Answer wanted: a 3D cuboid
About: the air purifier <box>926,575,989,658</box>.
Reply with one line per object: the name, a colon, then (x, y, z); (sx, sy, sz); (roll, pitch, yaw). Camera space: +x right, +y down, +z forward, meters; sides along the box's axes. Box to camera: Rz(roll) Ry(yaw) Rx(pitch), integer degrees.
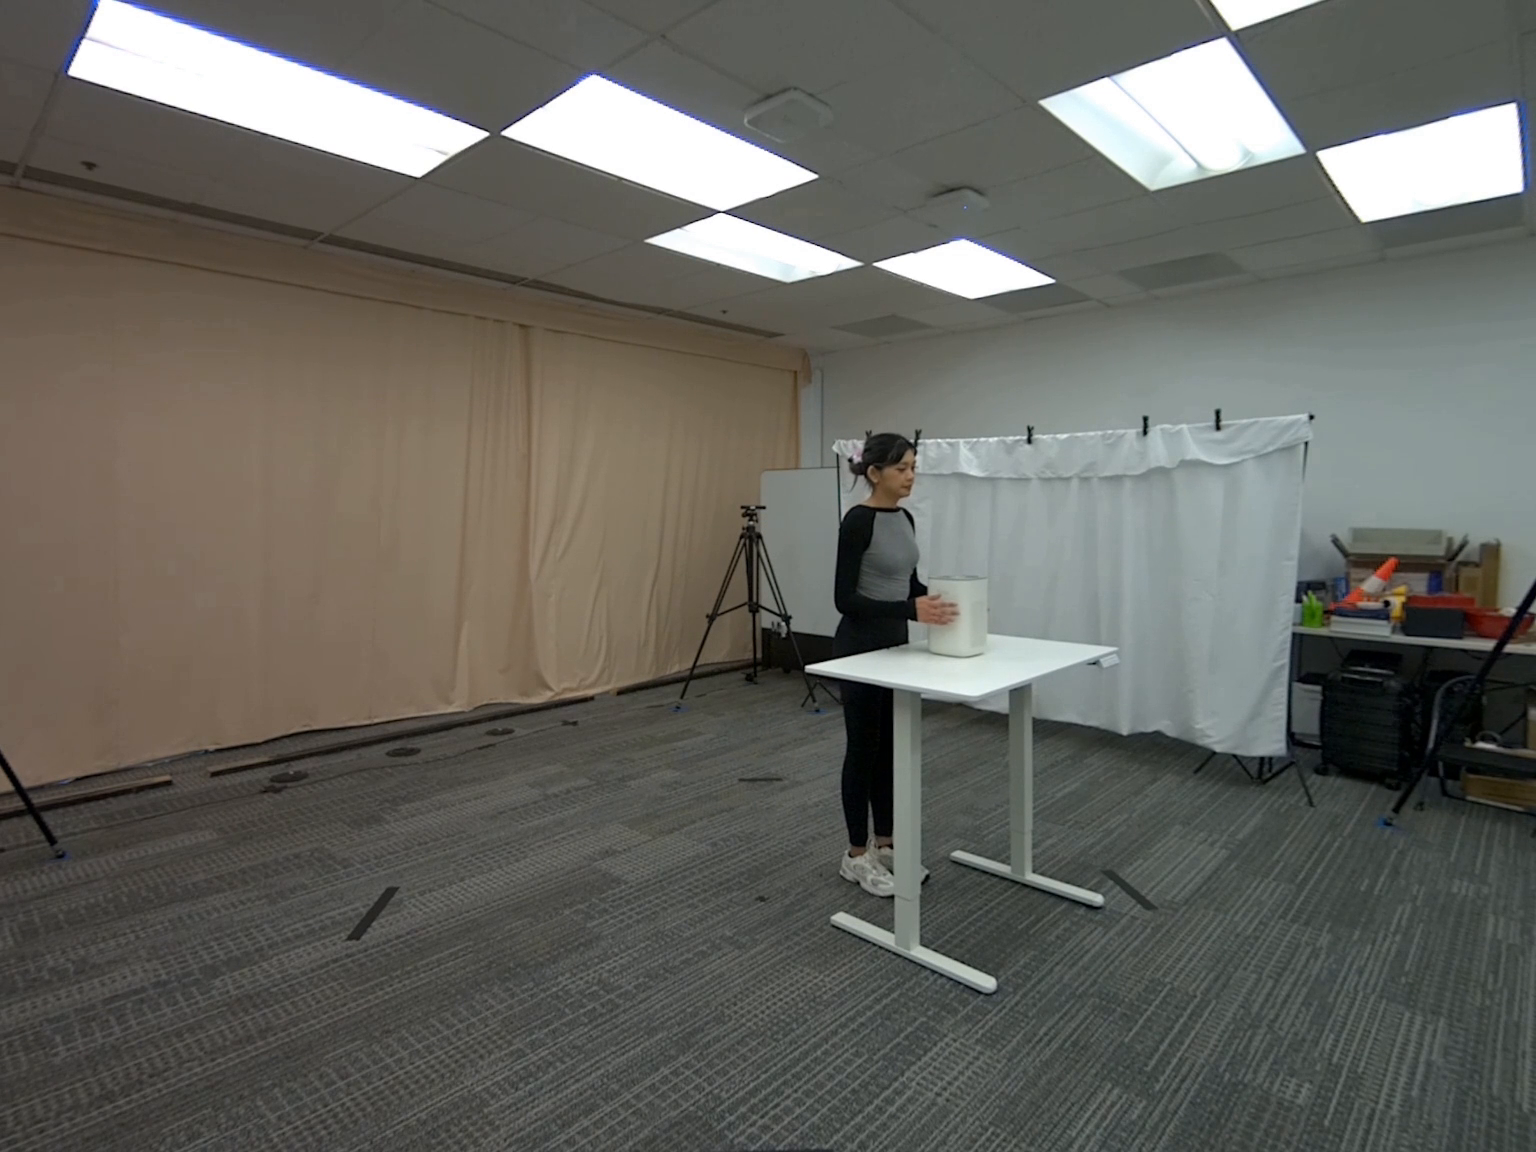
air purifier: (0.656, 0.136, 2.880); (0.177, 0.264, 0.166); (3, 7, 44)
